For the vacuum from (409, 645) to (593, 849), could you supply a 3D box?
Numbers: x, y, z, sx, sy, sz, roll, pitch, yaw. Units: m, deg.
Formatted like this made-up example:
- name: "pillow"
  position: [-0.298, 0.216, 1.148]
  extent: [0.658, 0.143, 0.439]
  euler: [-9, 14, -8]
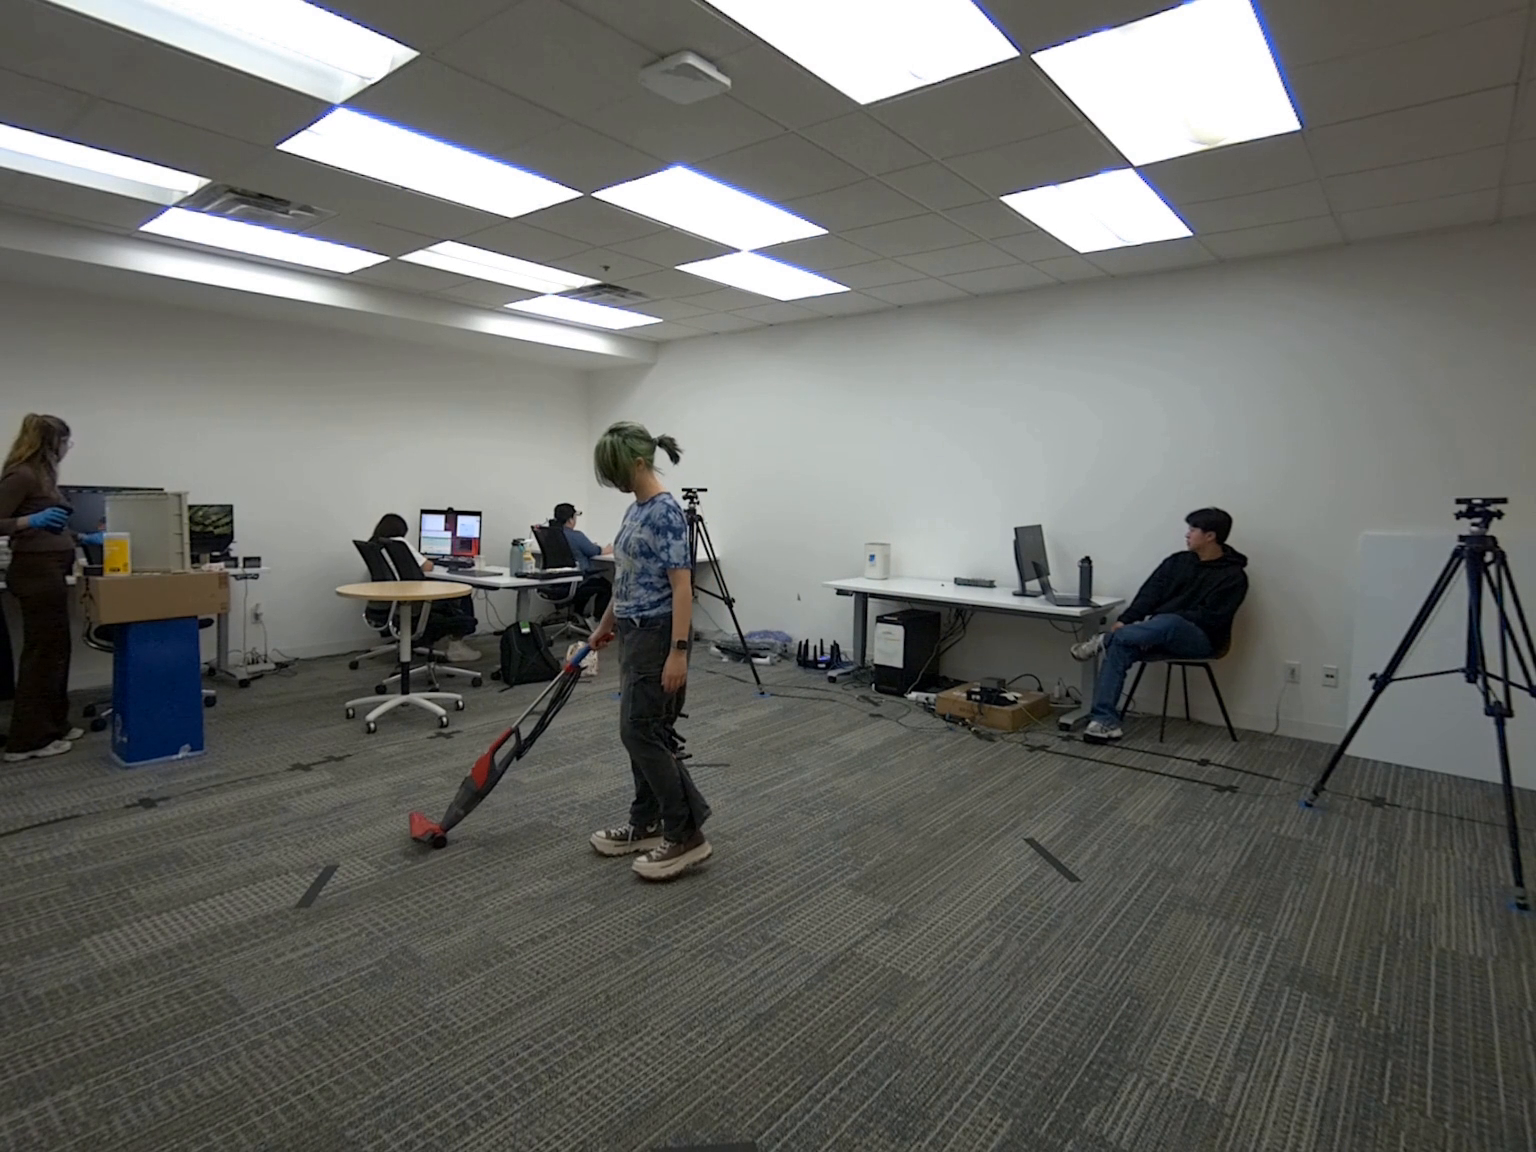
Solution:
- name: "vacuum"
  position: [-0.993, 0.630, 3.397]
  extent: [0.140, 1.049, 0.260]
  euler: [47, -14, -22]
